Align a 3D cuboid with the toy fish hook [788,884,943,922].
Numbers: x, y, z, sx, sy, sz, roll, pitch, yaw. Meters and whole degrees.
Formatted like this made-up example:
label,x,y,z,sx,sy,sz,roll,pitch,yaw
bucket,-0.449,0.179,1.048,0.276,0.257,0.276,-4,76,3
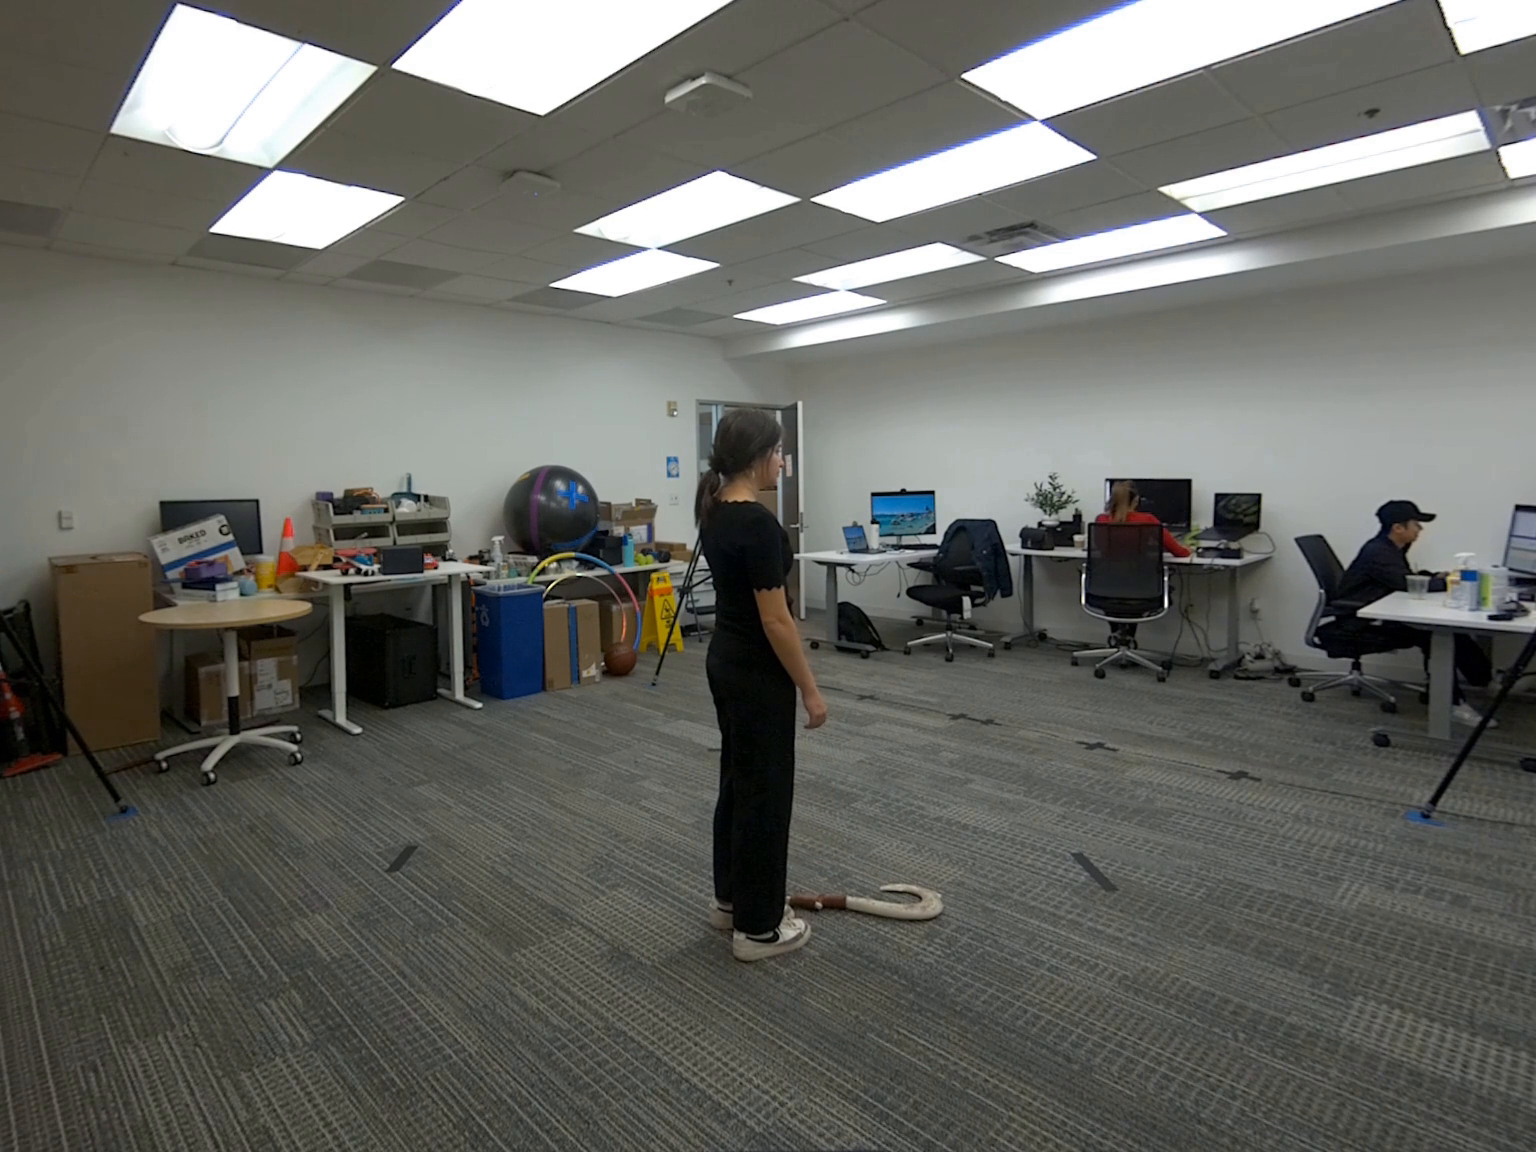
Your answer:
label,x,y,z,sx,sy,sz,roll,pitch,yaw
toy fish hook,0.311,1.056,2.802,0.511,0.048,0.222,1,-1,8
